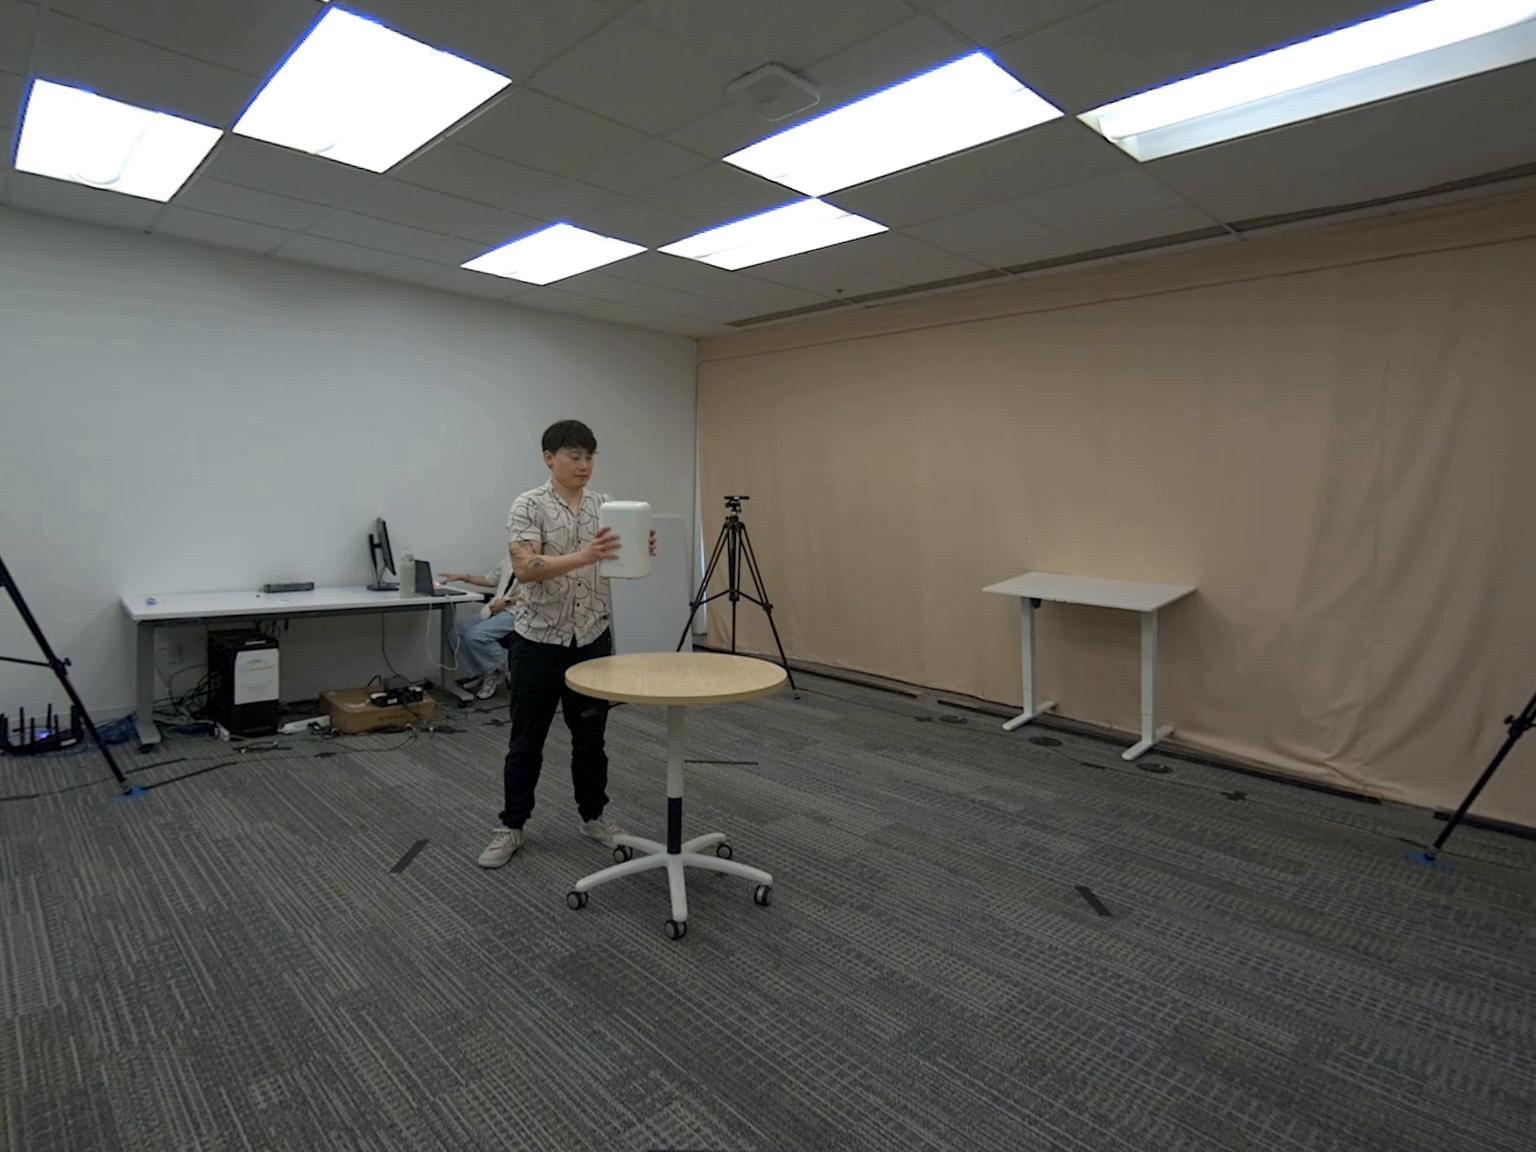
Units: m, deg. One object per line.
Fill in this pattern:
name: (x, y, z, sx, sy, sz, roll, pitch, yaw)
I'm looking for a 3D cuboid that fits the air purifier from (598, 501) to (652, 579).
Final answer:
air purifier: (-0.527, -0.135, 3.021, 0.172, 0.264, 0.172, 4, 7, 3)
